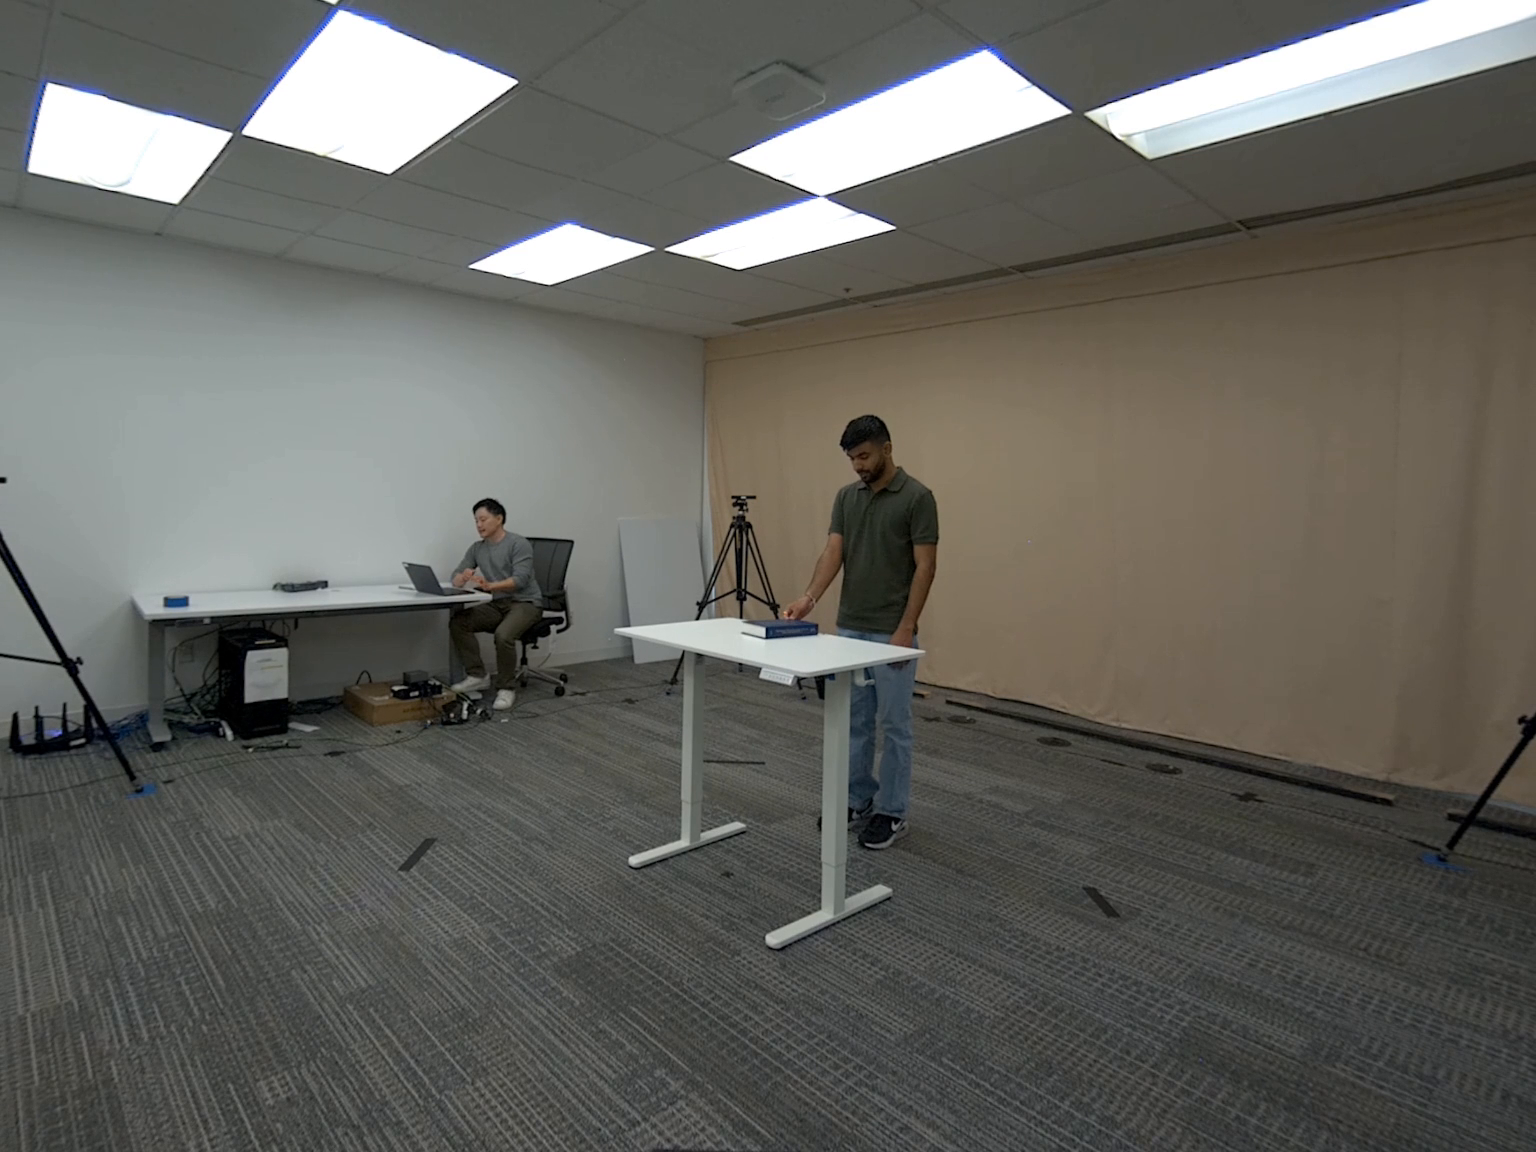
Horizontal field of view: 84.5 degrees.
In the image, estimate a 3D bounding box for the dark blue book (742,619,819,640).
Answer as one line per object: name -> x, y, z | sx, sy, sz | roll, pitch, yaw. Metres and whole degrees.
dark blue book -> 0.044, 0.200, 3.168 | 0.240, 0.045, 0.167 | -1, 4, -34
